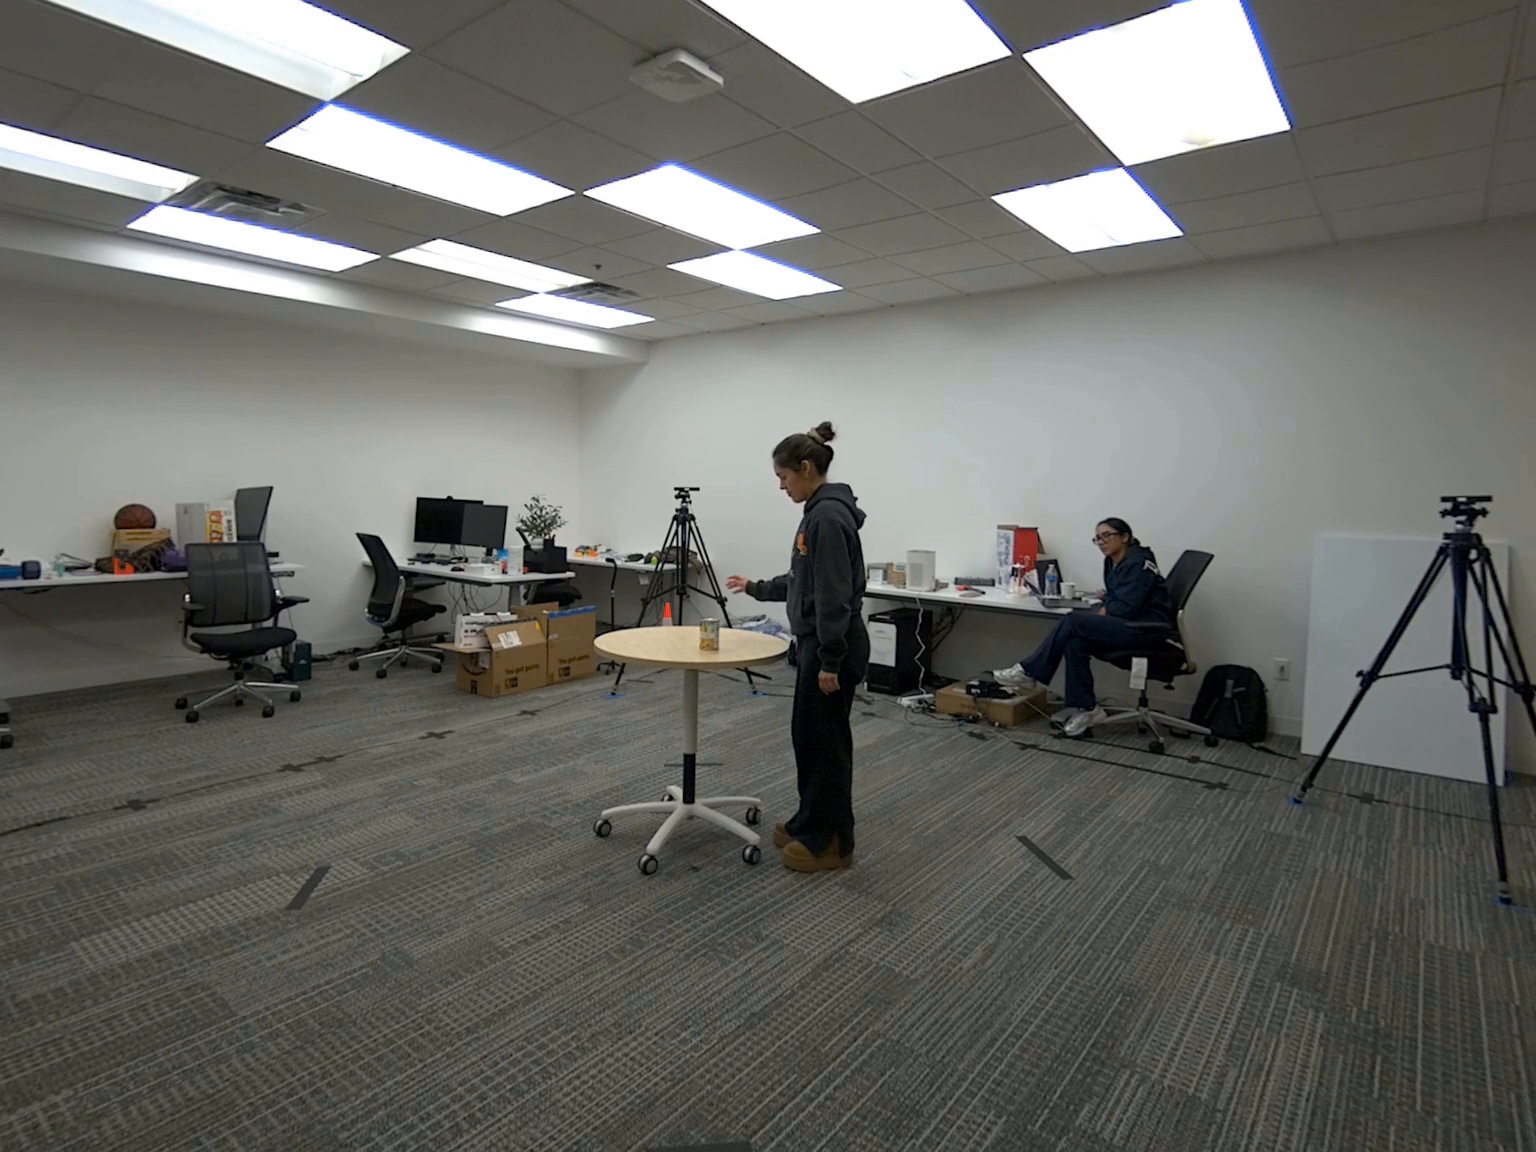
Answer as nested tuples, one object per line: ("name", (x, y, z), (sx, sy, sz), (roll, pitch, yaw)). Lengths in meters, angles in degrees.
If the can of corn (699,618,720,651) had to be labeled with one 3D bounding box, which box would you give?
("can of corn", (-0.224, 0.219, 3.227), (0.074, 0.111, 0.074), (1, 4, -2))
